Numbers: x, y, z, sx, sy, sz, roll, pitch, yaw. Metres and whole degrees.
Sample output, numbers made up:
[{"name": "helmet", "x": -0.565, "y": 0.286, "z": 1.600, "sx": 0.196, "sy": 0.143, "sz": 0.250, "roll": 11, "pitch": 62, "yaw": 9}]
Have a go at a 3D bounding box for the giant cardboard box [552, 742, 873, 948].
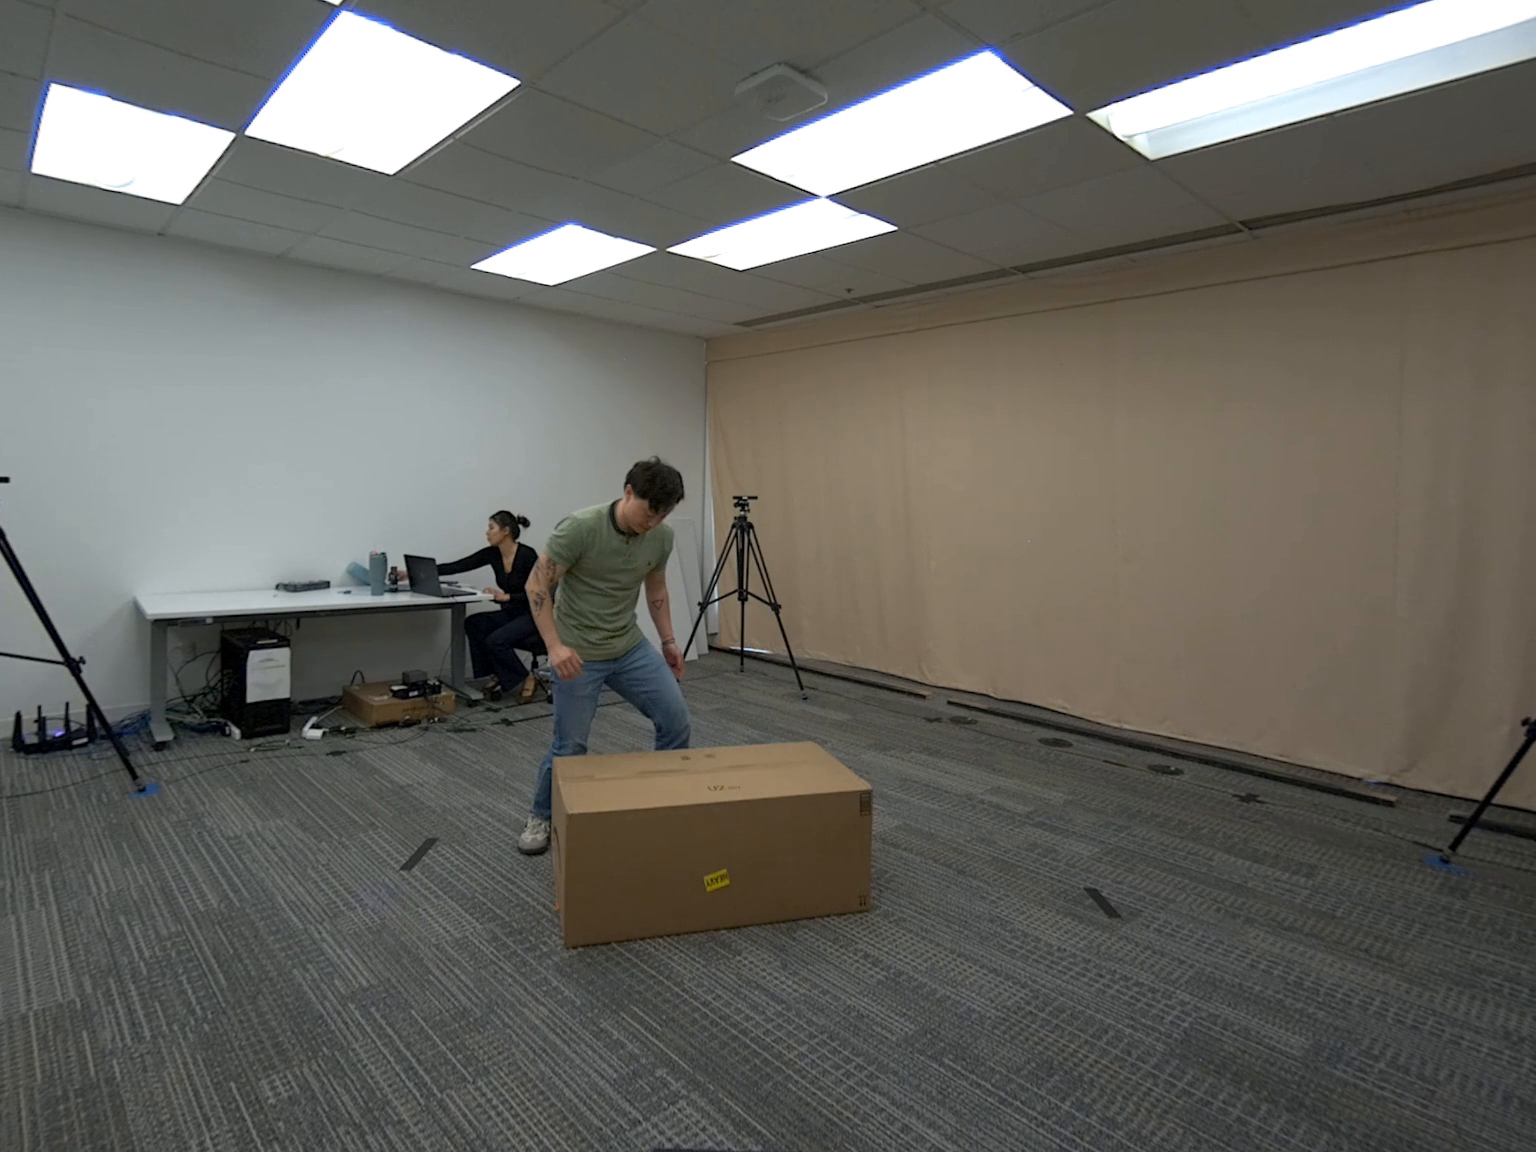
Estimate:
[{"name": "giant cardboard box", "x": -0.224, "y": 0.899, "z": 2.966, "sx": 1.013, "sy": 0.425, "sz": 0.586, "roll": 0, "pitch": 4, "yaw": -17}]
